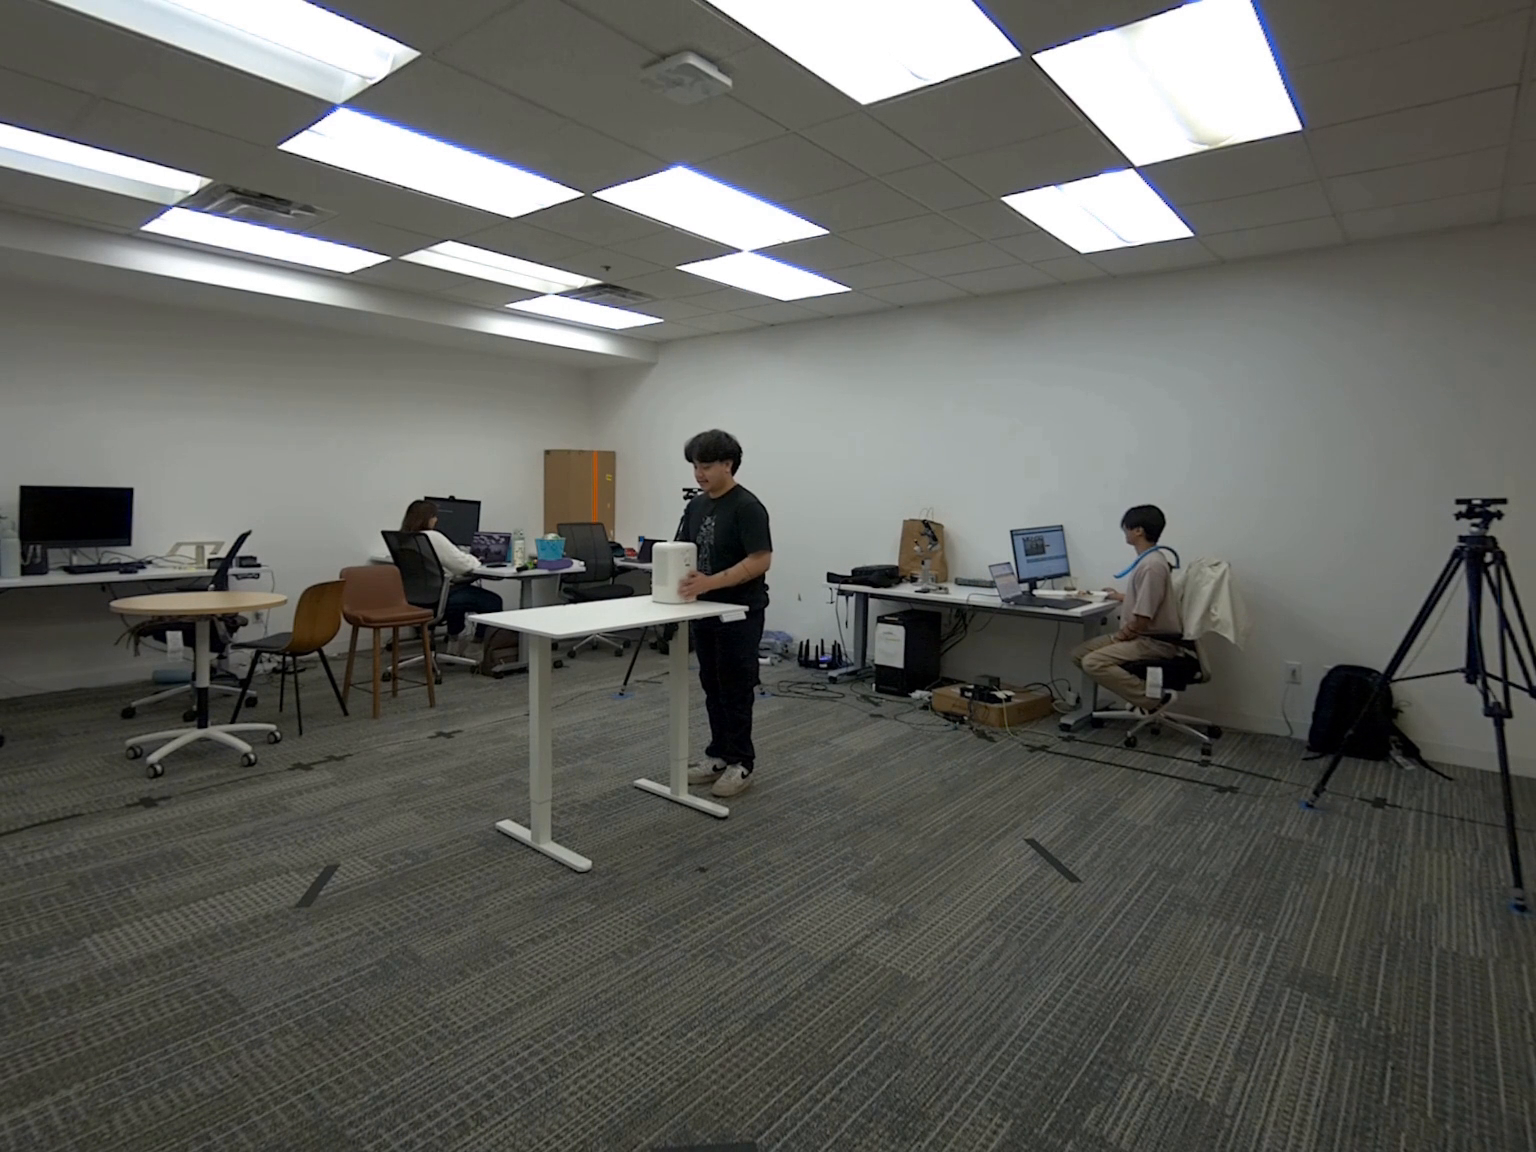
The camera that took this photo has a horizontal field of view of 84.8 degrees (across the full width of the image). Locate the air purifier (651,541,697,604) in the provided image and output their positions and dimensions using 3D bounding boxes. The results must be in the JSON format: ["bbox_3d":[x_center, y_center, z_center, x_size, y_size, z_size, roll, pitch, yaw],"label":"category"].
[{"bbox_3d":[-0.438,-0.024,3.814,0.177,0.264,0.166,4,6,42],"label":"air purifier"}]
